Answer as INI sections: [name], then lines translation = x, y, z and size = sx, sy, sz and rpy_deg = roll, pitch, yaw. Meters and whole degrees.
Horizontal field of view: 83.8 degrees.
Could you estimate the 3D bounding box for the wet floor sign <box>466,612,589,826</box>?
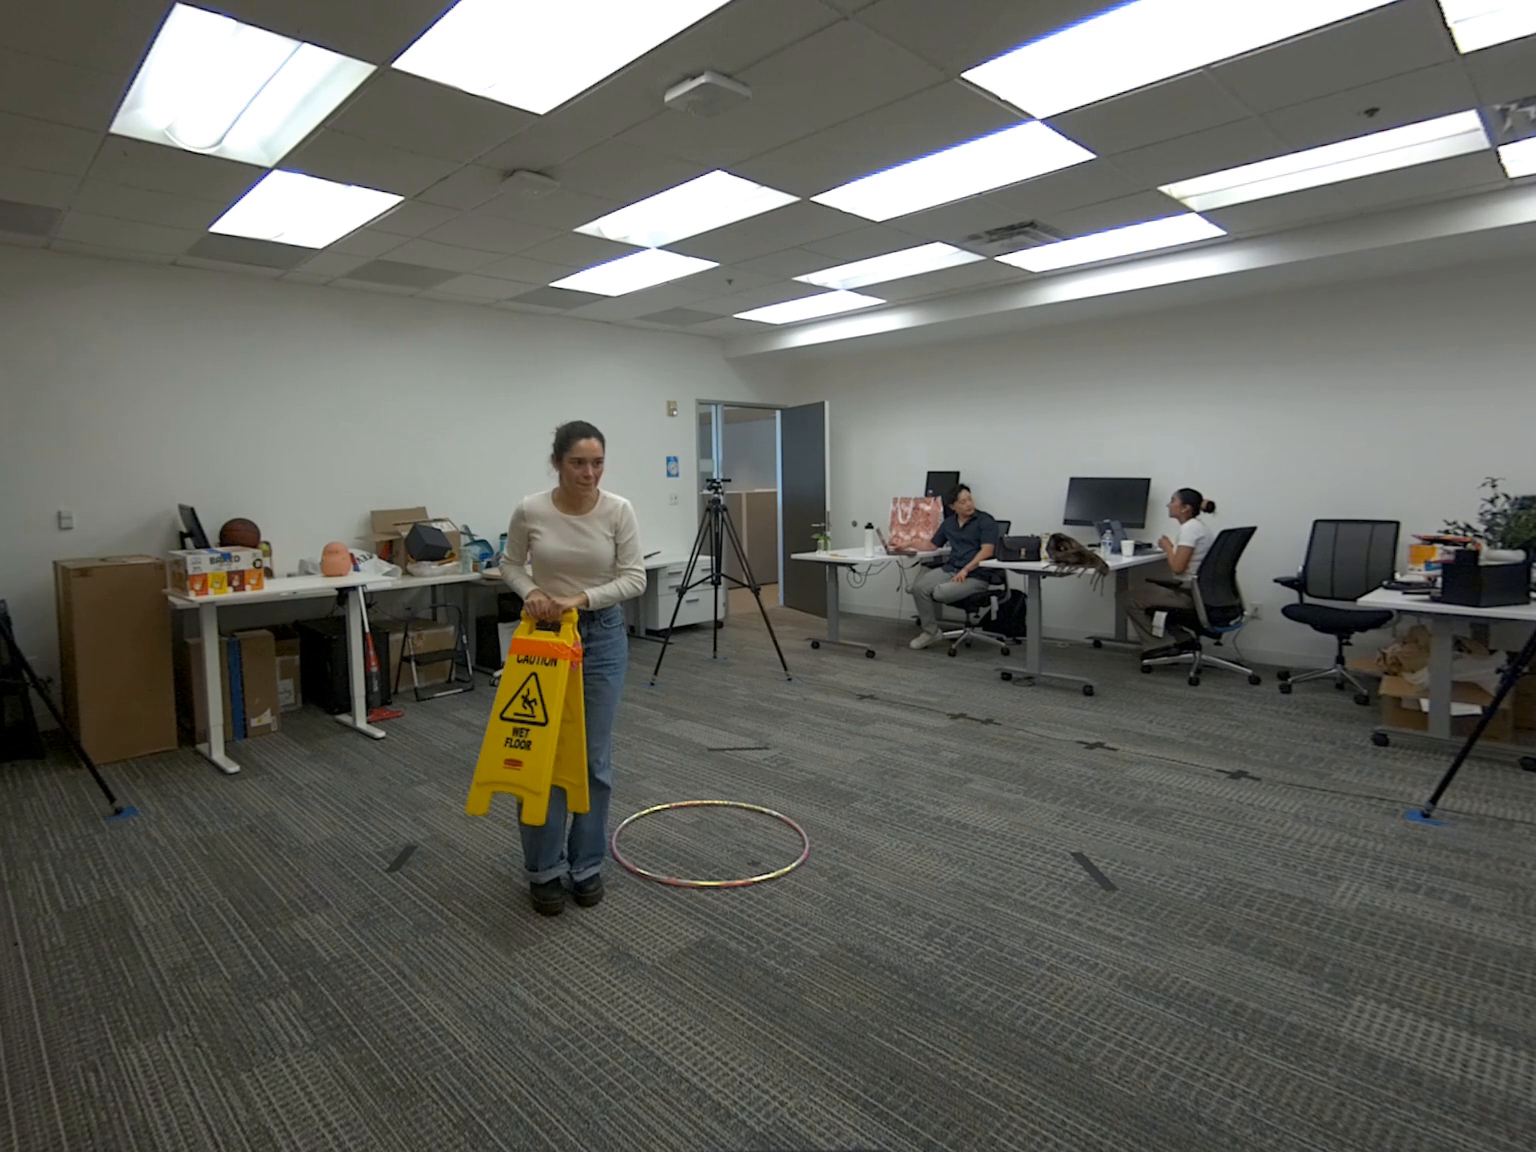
[wet floor sign]
translation = -0.721, 0.417, 2.687
size = 0.287, 0.651, 0.282
rpy_deg = -1, -9, 19
